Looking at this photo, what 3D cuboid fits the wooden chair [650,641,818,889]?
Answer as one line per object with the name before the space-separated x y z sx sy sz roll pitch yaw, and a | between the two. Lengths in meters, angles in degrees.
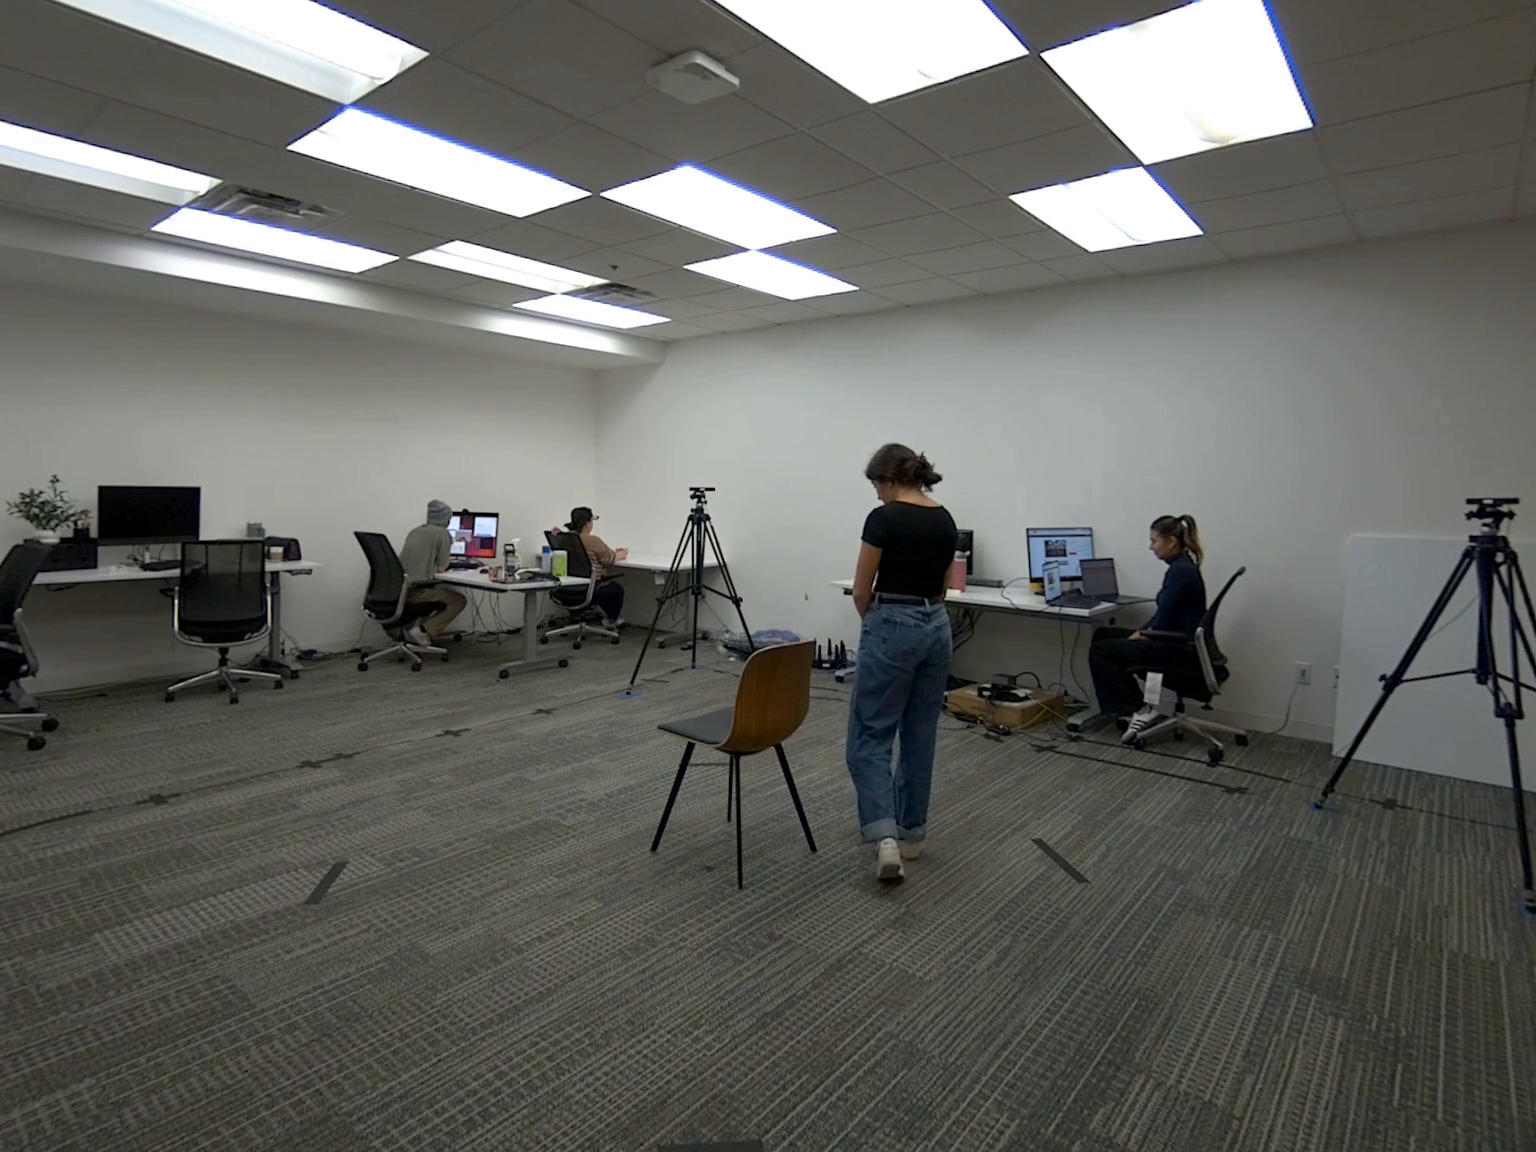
wooden chair | -0.139 0.630 3.239 0.542 0.873 0.464 9 8 40
